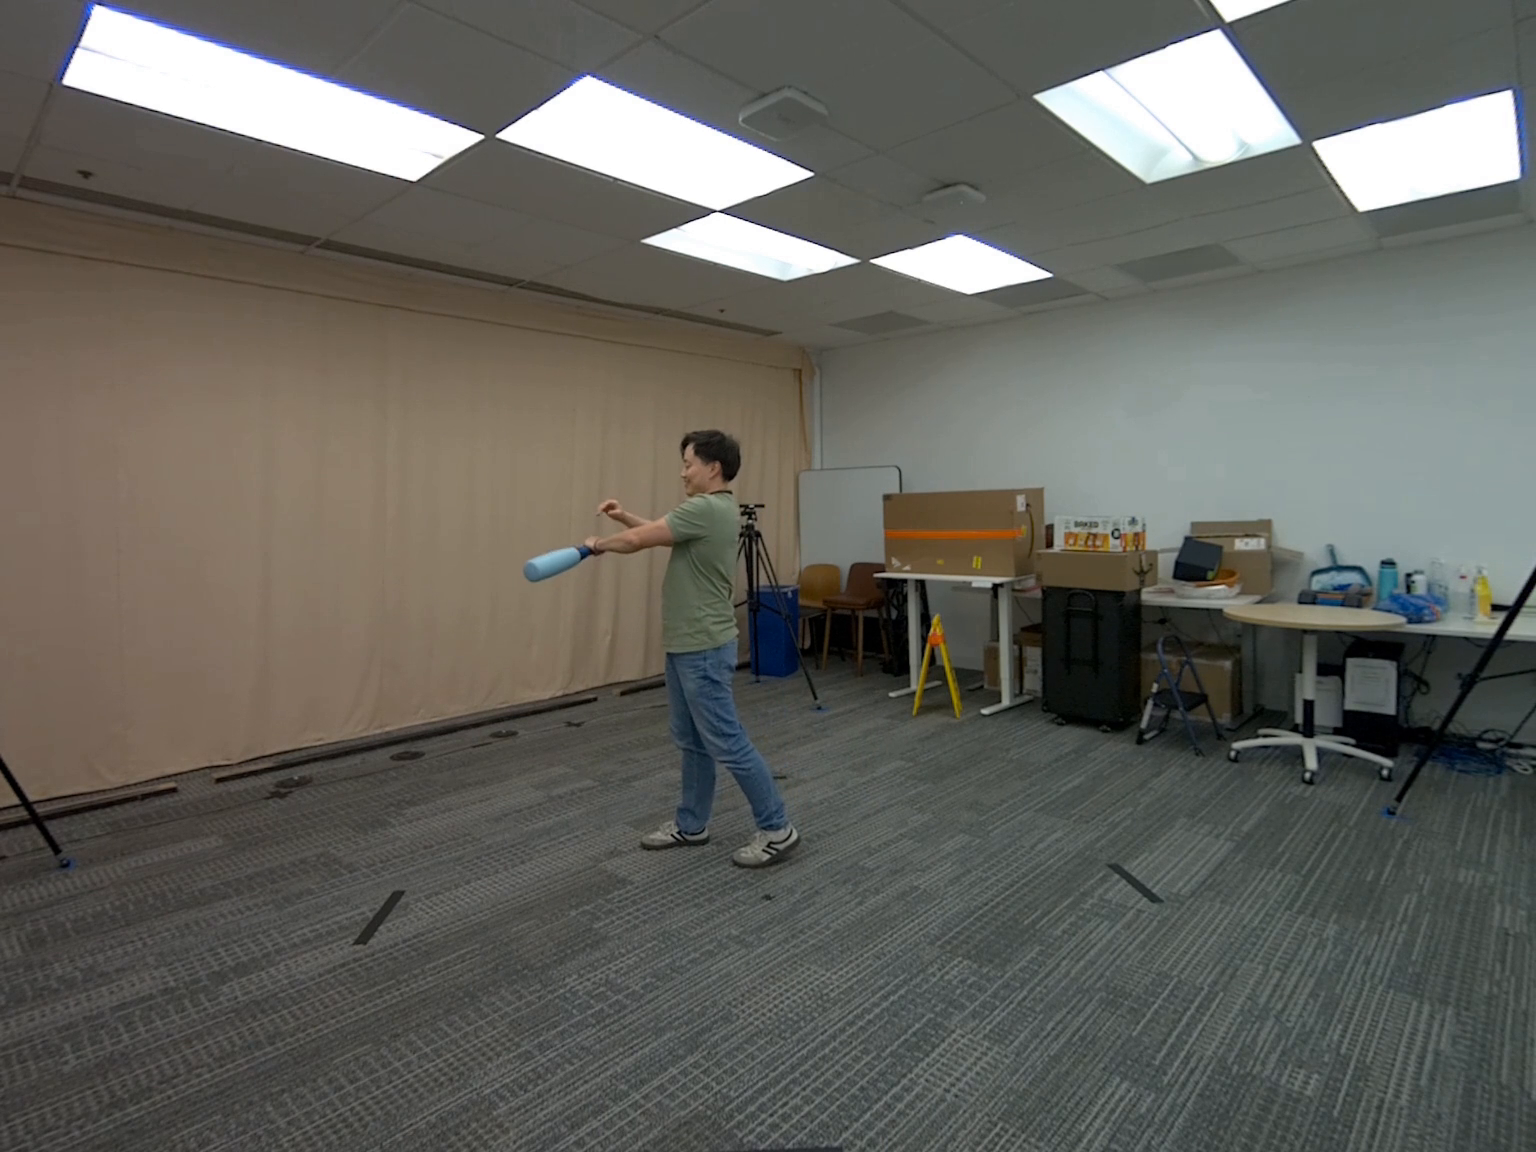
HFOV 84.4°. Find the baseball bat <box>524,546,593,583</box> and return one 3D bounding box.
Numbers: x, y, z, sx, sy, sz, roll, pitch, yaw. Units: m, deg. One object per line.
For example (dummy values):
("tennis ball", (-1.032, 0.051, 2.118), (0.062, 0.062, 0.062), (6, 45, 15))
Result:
("baseball bat", (-0.748, -0.083, 3.329), (0.091, 0.088, 0.533), (1, 16, 29))
